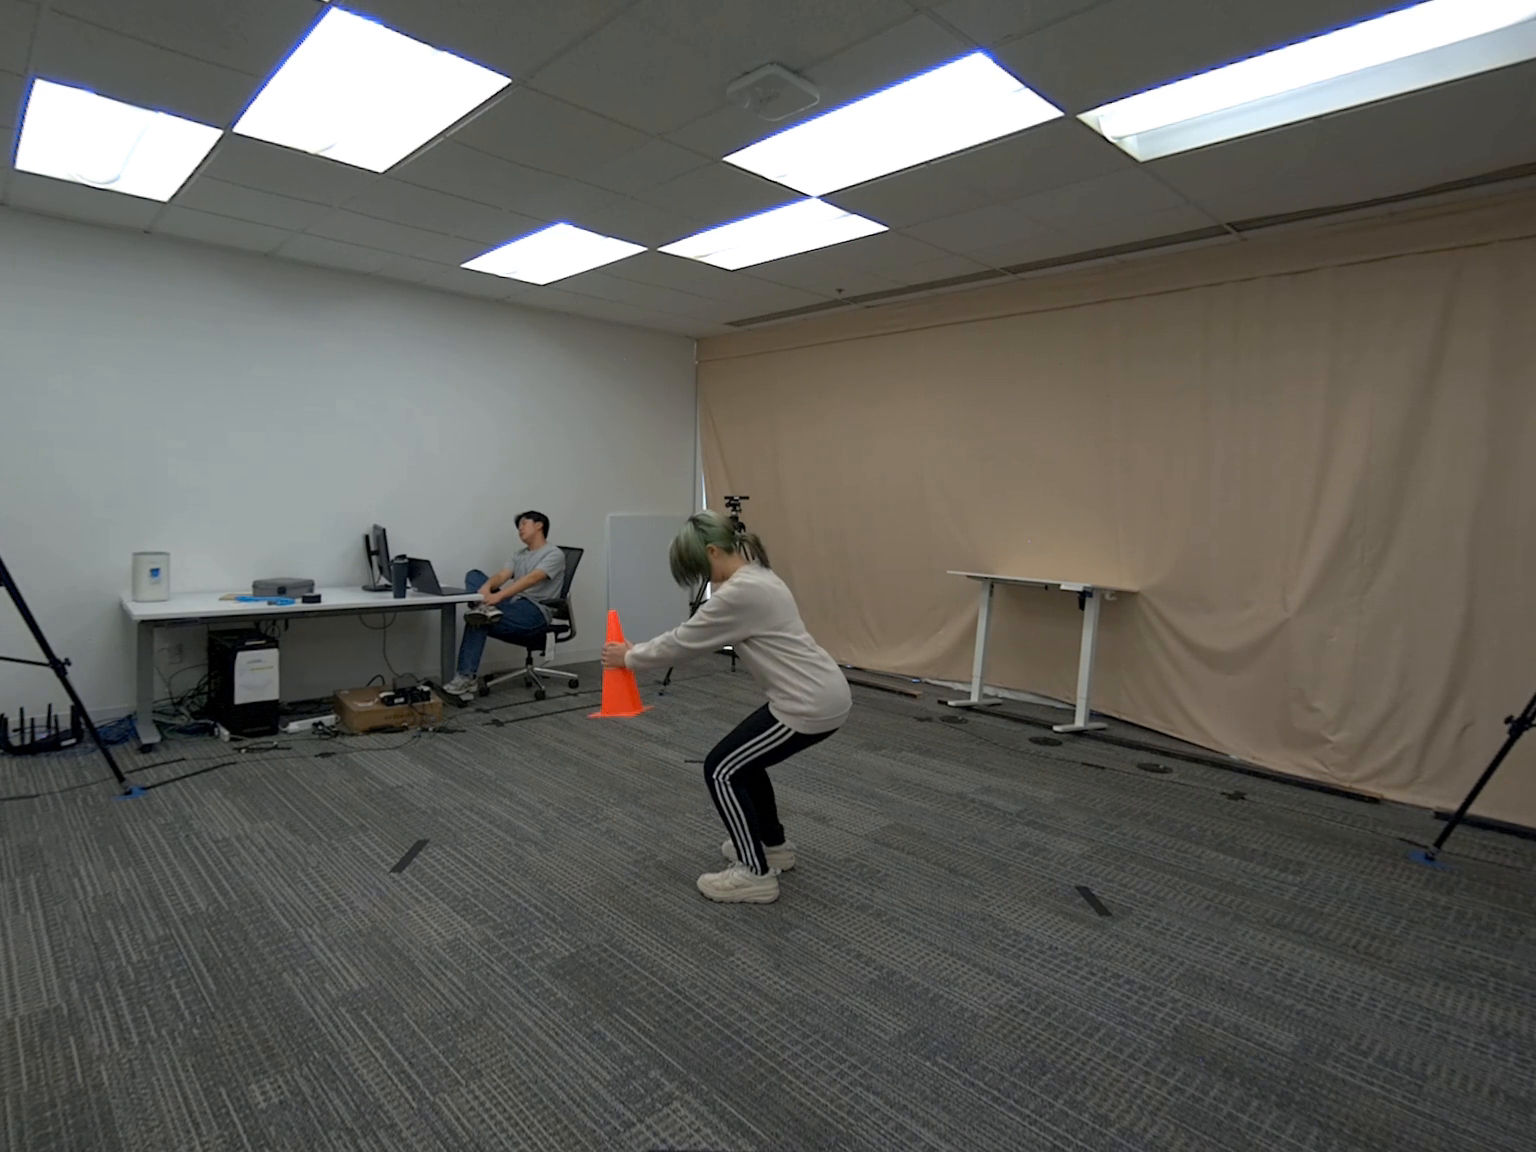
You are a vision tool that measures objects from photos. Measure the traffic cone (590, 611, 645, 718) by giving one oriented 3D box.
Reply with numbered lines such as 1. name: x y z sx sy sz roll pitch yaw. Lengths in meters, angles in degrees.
1. traffic cone: -0.570 0.320 3.179 0.206 0.385 0.201 -5 -3 19
